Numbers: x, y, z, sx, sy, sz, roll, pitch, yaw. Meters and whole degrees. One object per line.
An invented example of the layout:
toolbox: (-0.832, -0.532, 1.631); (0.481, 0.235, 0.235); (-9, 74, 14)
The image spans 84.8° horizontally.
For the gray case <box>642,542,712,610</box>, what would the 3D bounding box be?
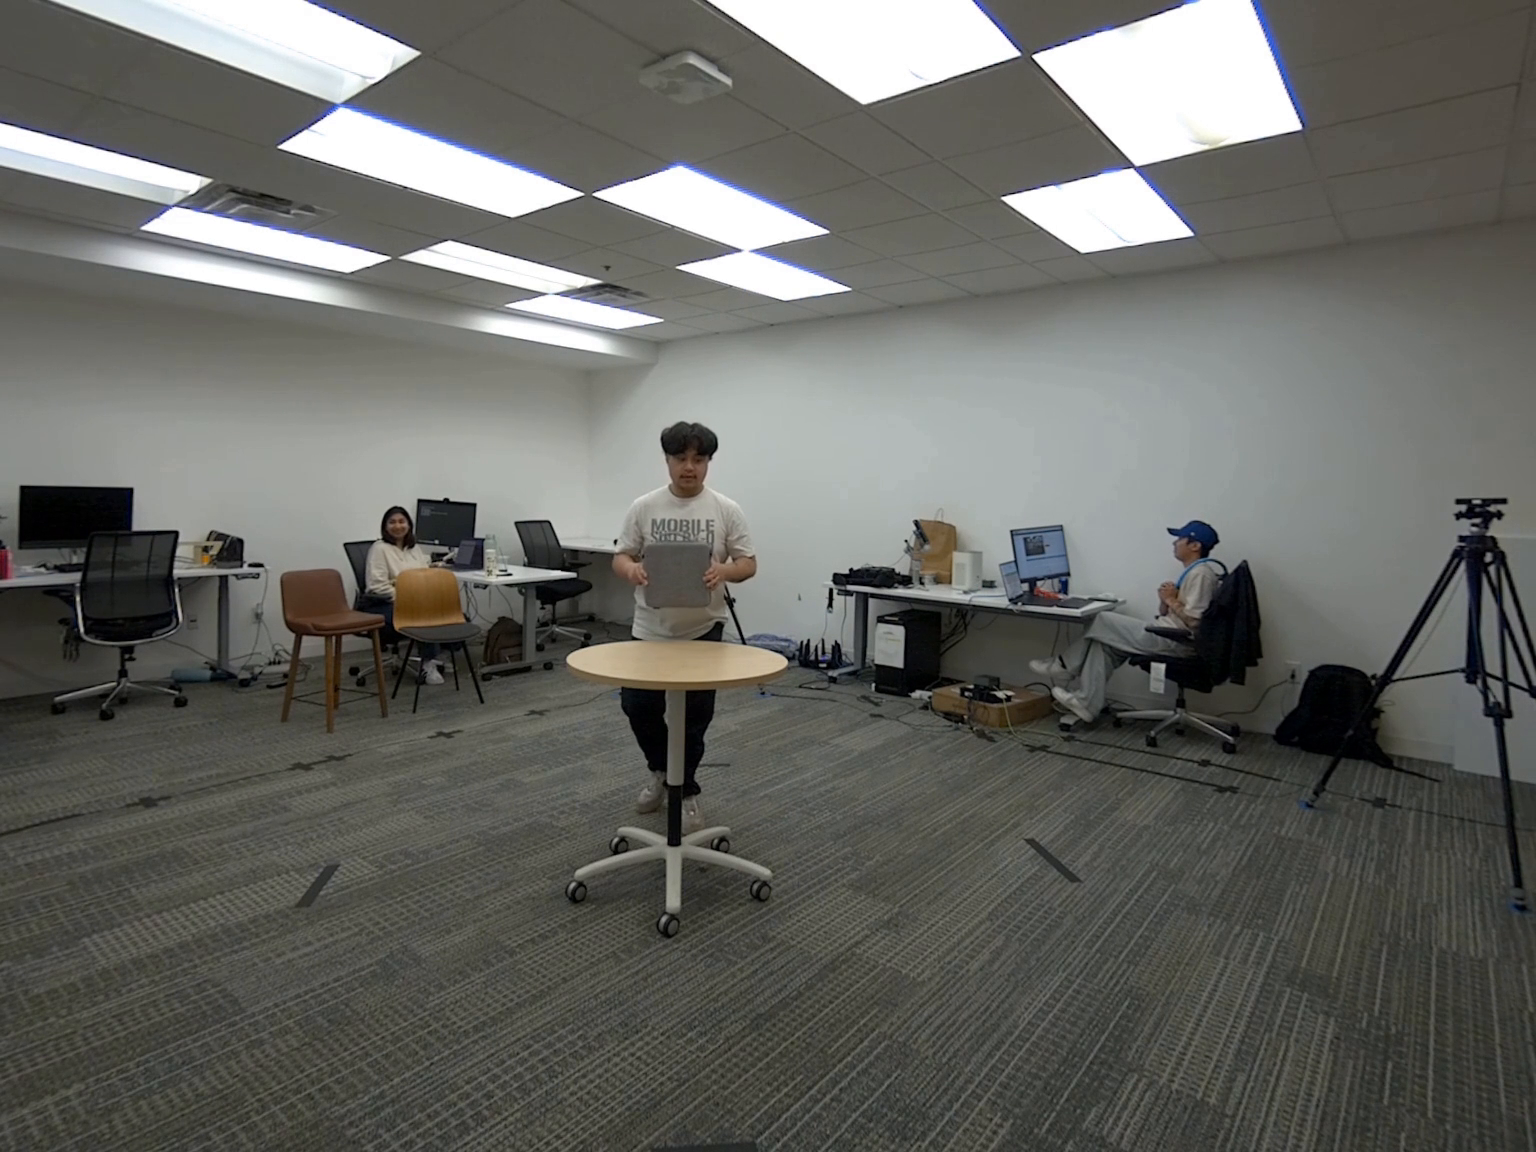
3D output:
gray case: (-0.361, -0.010, 3.248); (0.256, 0.260, 0.105); (-3, 2, -2)
